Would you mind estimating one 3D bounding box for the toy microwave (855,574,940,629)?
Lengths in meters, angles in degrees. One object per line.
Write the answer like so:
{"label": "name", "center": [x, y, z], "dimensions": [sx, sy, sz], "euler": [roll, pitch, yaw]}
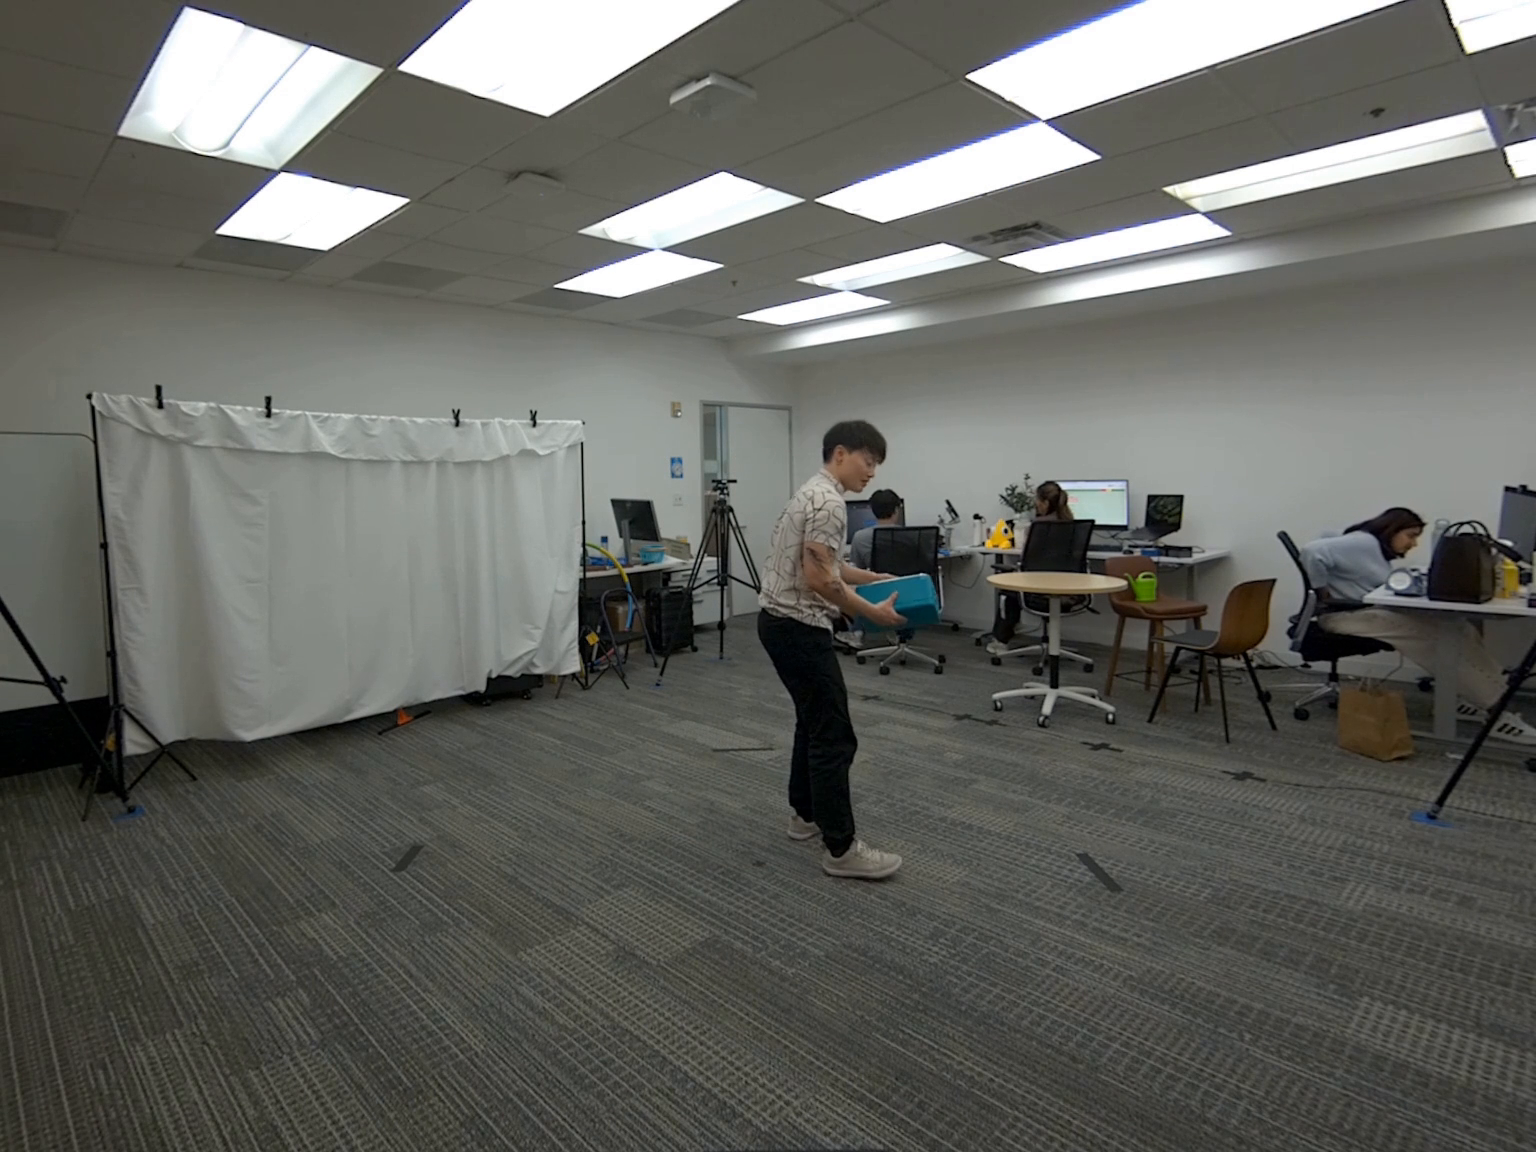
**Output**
{"label": "toy microwave", "center": [0.478, 0.105, 3.158], "dimensions": [0.289, 0.156, 0.177], "euler": [-10, -30, 14]}
